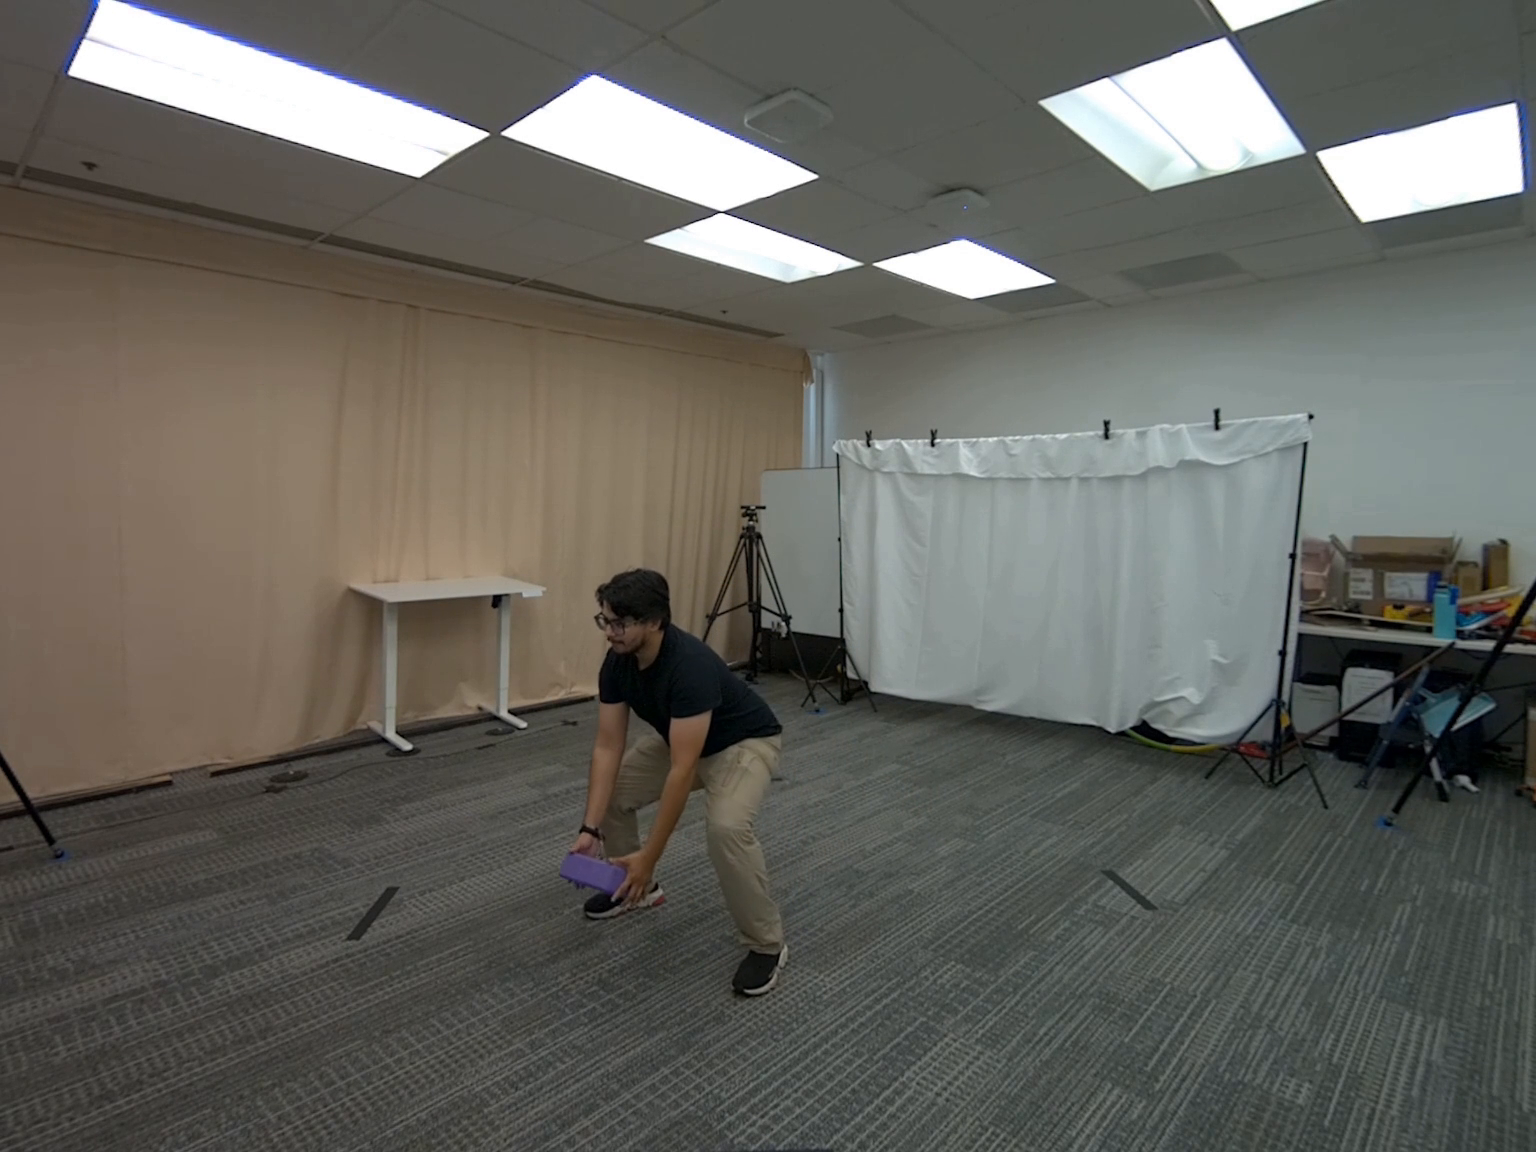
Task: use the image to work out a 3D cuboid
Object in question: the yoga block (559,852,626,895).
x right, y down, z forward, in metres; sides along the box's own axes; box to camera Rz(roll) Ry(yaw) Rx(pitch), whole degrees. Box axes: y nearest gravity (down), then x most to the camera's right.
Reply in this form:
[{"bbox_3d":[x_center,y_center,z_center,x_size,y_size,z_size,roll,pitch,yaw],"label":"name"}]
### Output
[{"bbox_3d":[-0.482,0.872,2.472,0.236,0.077,0.143,0,-28,39],"label":"yoga block"}]
